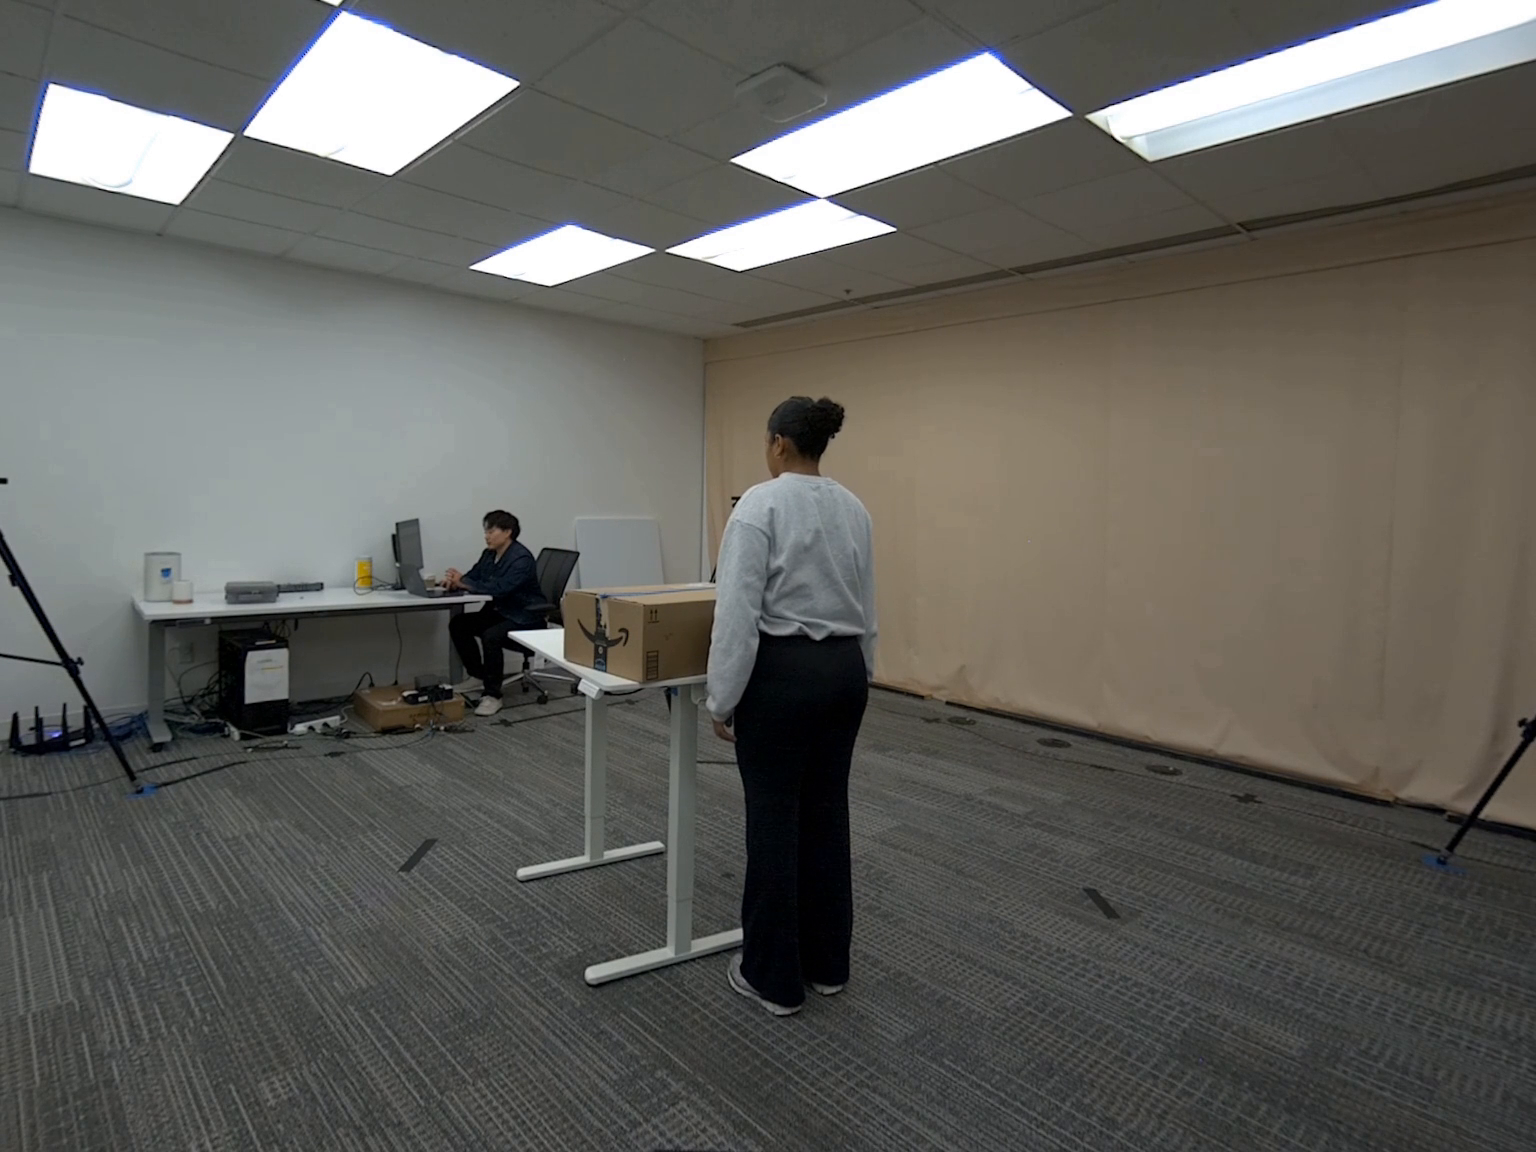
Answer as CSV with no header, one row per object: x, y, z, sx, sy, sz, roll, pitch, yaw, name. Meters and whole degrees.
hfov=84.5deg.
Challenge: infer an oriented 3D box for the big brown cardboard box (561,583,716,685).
-0.275,0.158,2.600,0.576,0.232,0.428,-5,7,-43,big brown cardboard box
